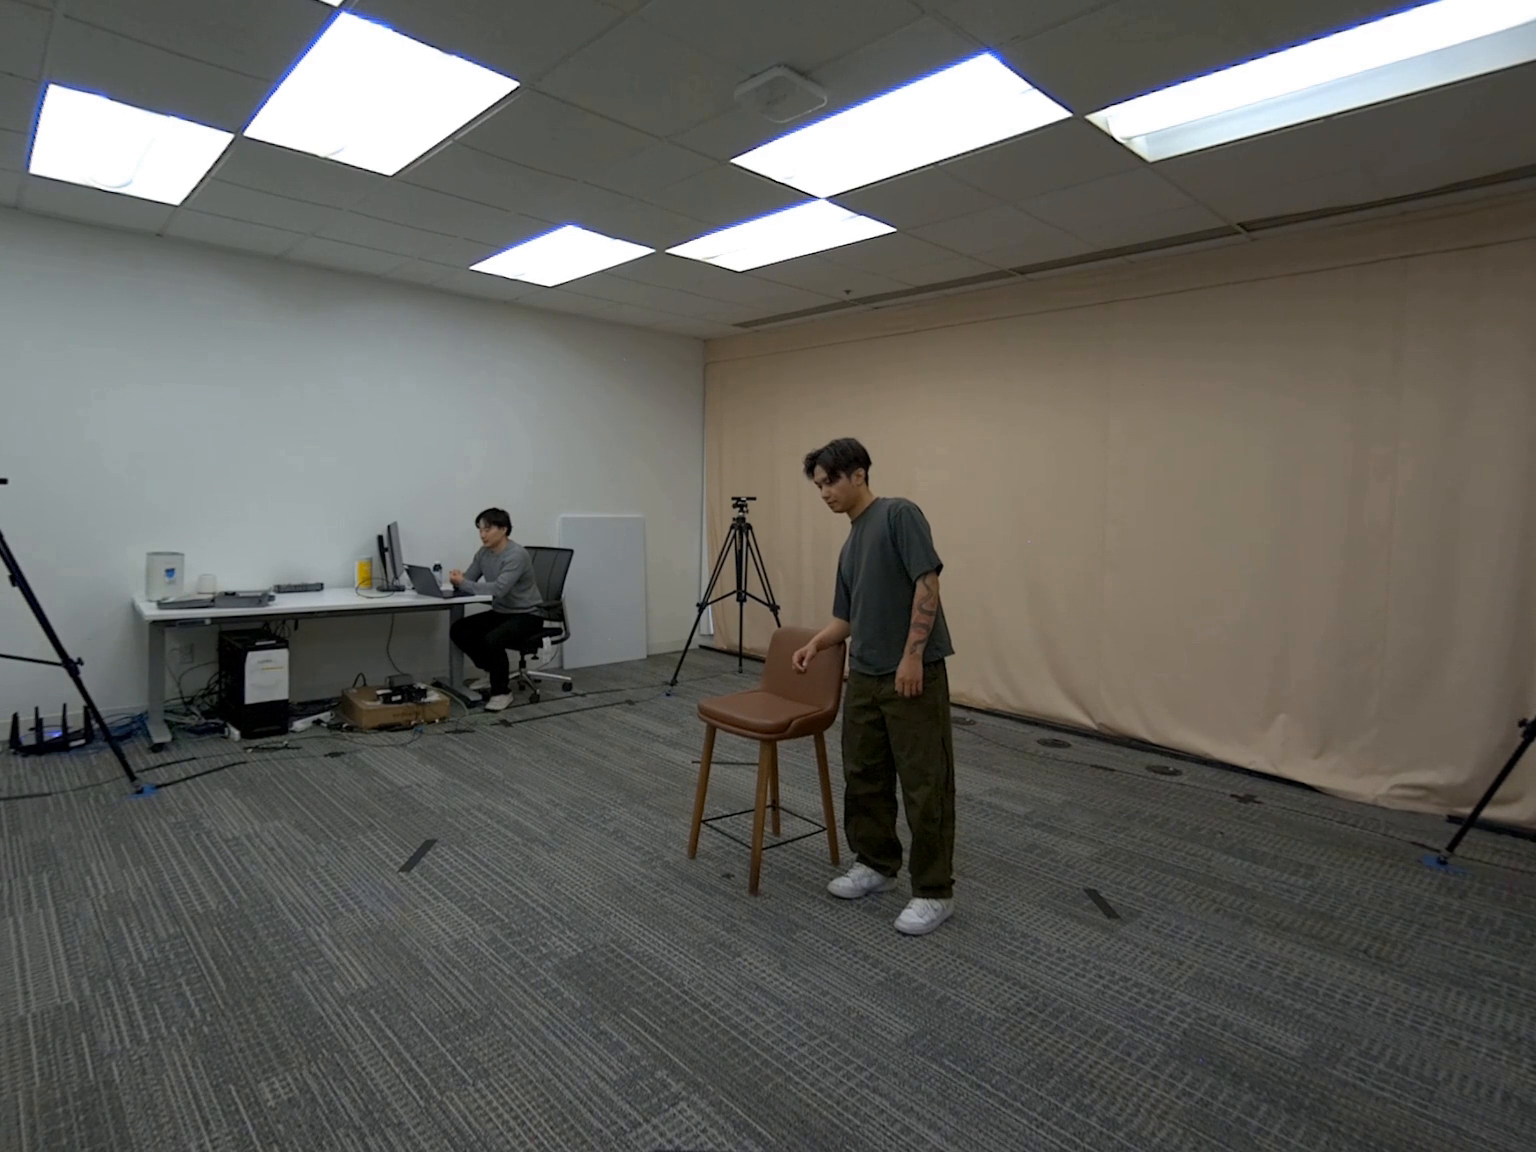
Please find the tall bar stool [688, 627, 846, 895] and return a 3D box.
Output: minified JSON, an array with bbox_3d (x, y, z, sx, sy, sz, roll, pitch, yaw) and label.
[{"bbox_3d":[-0.006,0.666,3.225,0.456,0.888,0.468,1,3,-39],"label":"tall bar stool"}]
